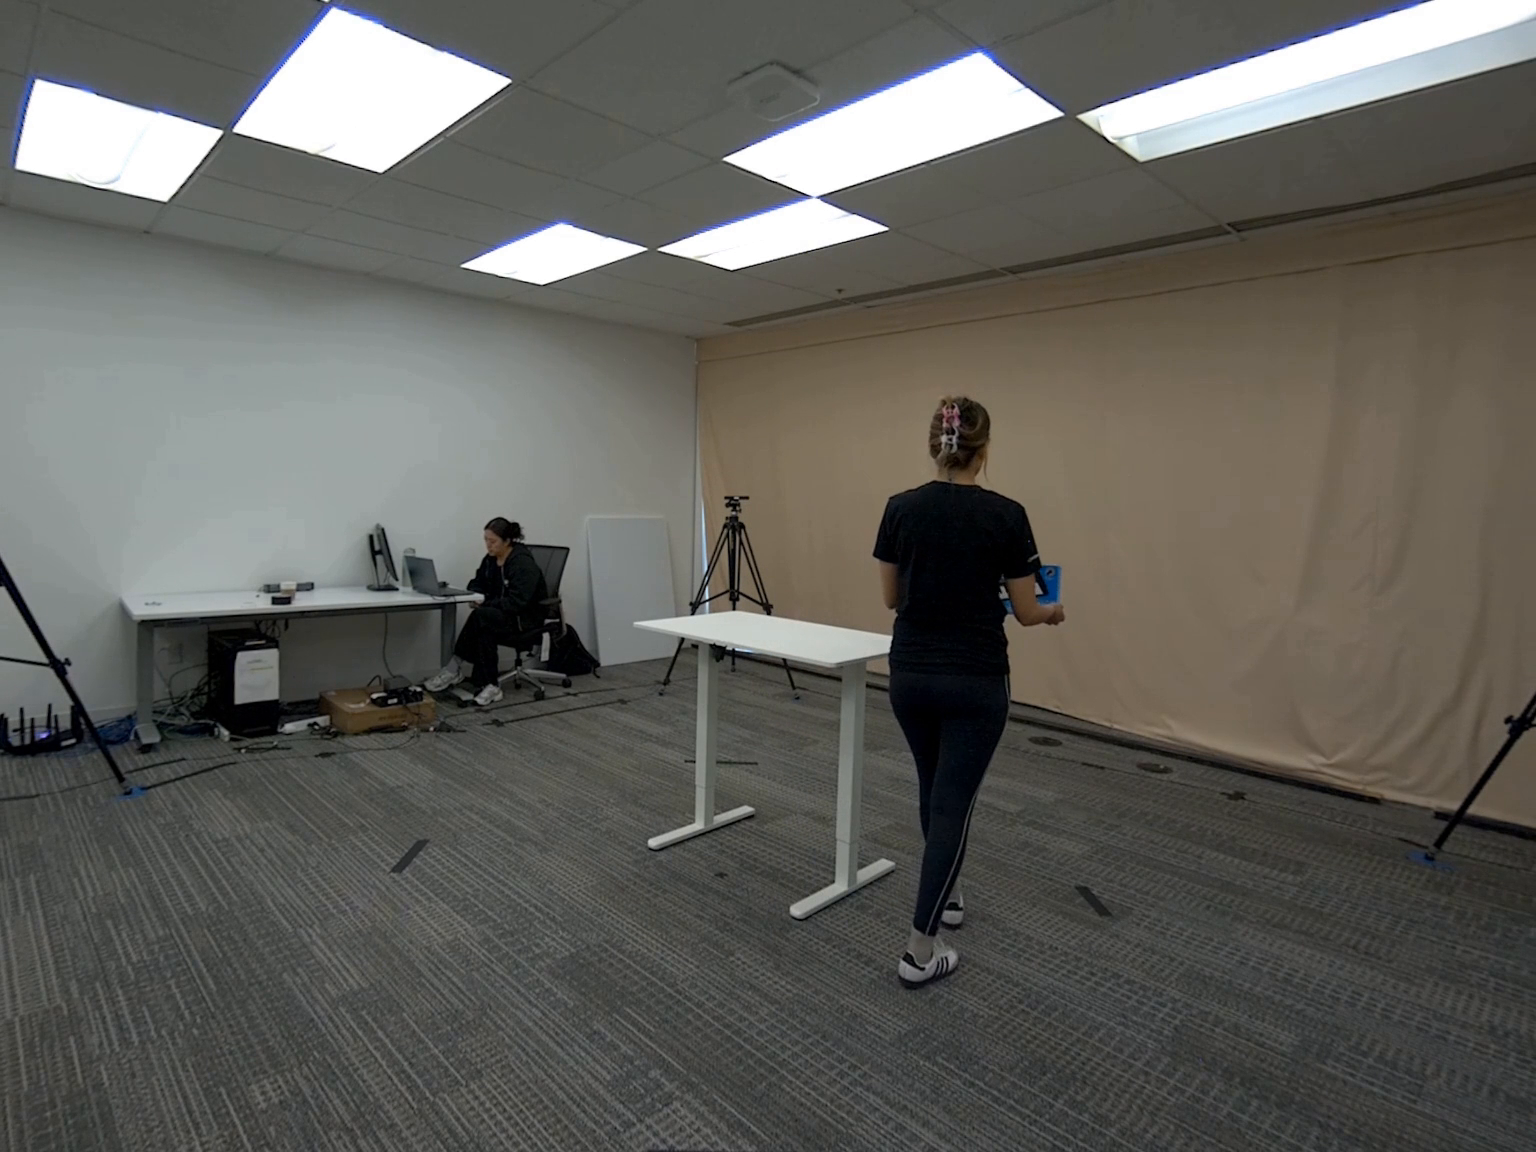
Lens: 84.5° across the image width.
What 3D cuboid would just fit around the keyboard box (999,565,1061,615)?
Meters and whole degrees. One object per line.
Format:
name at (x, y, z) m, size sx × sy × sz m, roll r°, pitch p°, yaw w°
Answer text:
keyboard box at (0.771, 0.041, 2.887) m, size 0.446 × 0.176 × 0.058 m, roll 4°, pitch 1°, yaw 30°
